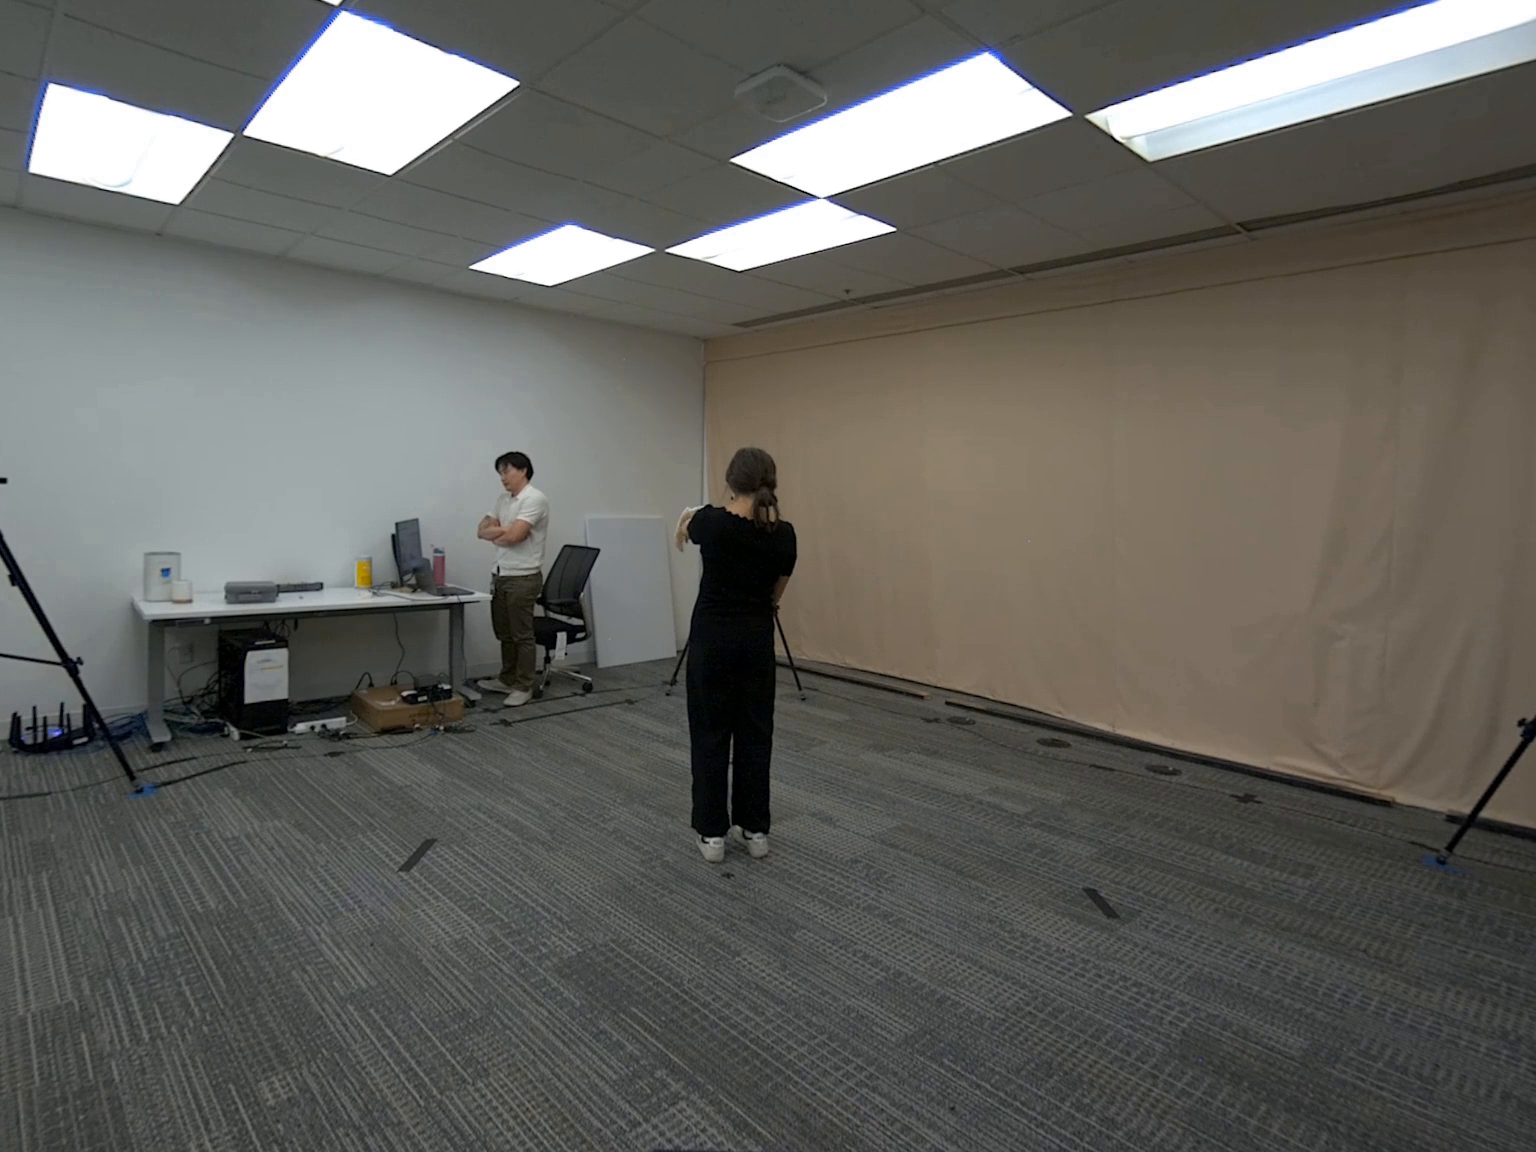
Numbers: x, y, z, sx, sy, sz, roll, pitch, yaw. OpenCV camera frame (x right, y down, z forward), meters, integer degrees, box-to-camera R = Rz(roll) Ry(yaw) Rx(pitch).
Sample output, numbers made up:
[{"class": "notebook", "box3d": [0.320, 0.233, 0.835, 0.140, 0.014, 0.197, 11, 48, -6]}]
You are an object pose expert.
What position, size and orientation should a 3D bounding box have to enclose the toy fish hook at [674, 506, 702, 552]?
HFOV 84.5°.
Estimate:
[{"class": "toy fish hook", "box3d": [-0.307, -0.045, 3.677, 0.225, 0.501, 0.049, 1, 13, 1]}]
